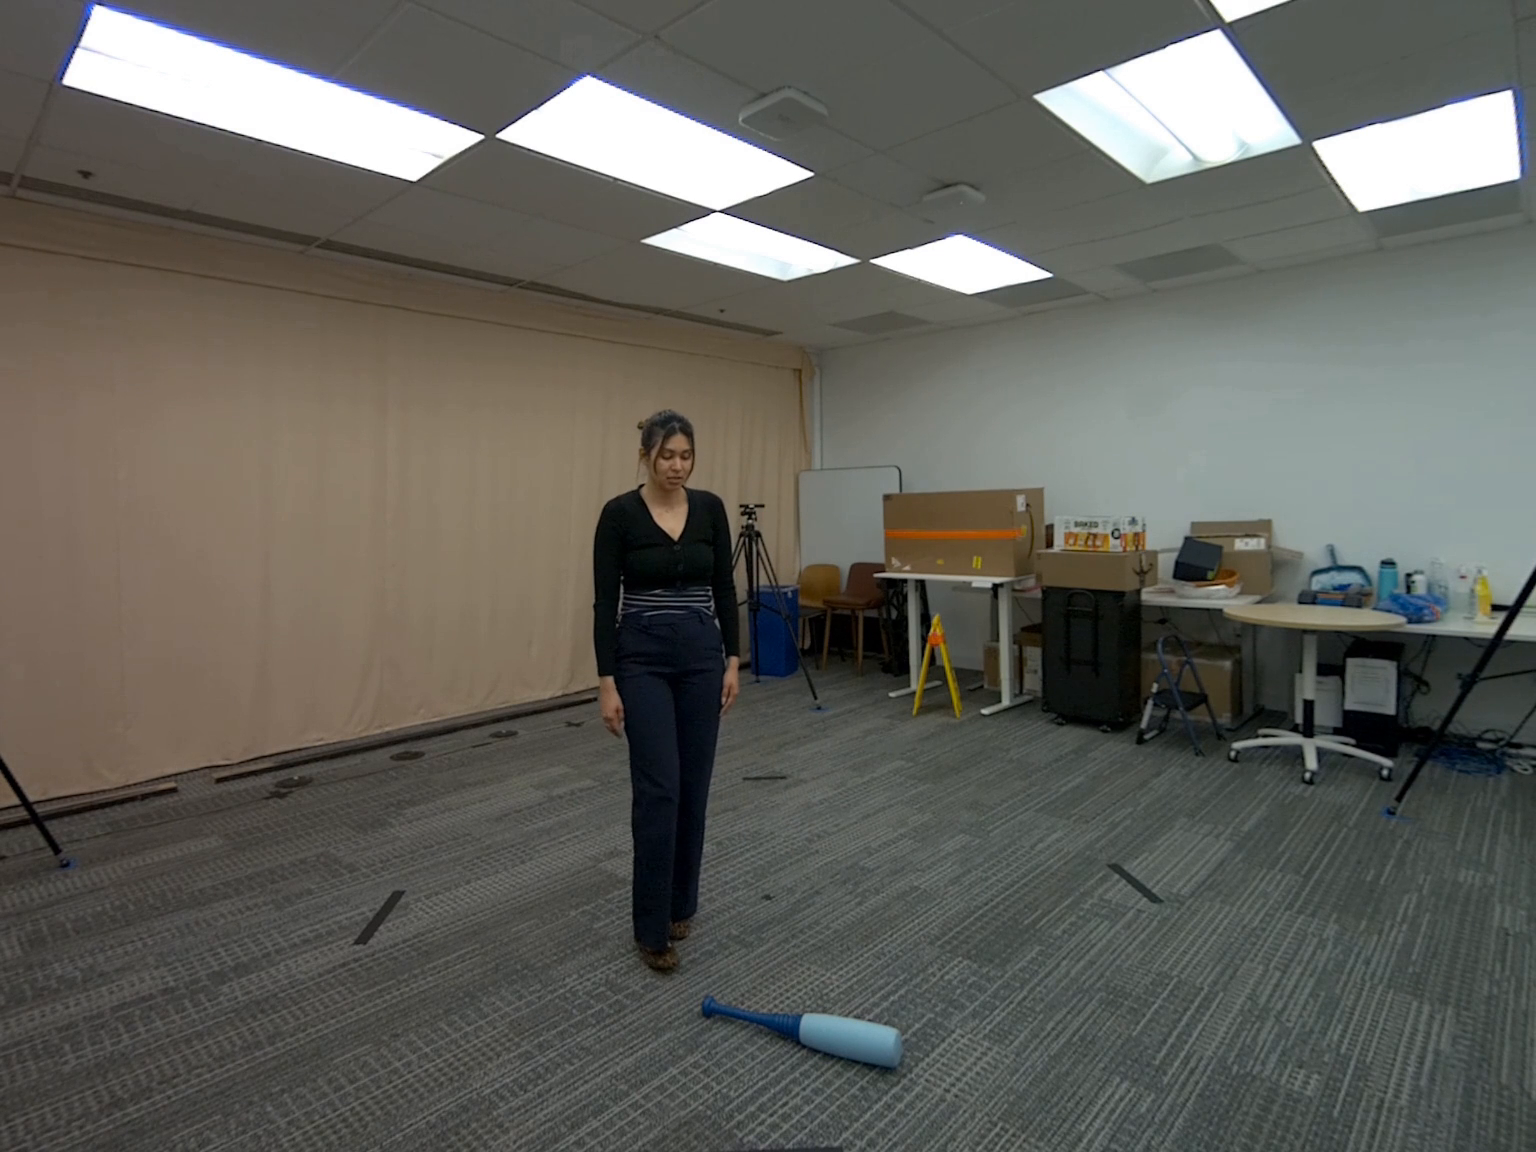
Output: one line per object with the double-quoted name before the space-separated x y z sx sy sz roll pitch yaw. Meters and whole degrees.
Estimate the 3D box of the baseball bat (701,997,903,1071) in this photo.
"baseball bat" 0.077 1.171 2.179 0.556 0.089 0.087 -2 3 25
